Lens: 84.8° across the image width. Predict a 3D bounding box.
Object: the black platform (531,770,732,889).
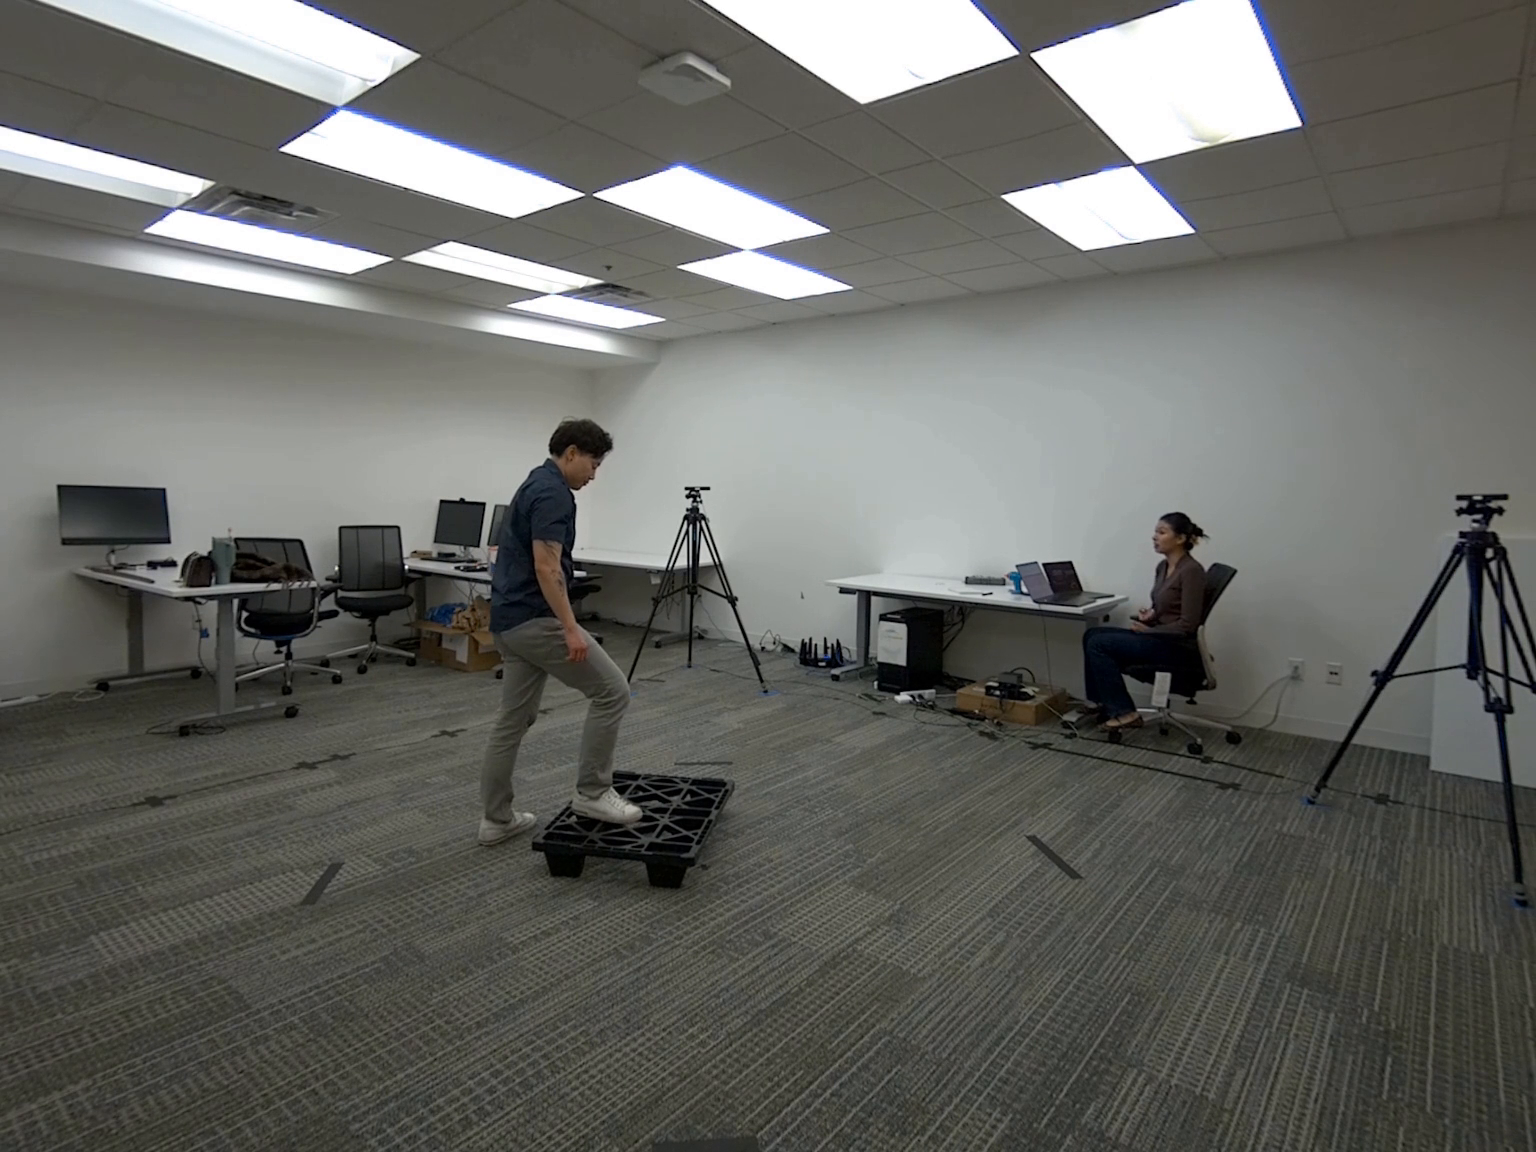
[{"bbox_3d":[-0.504,0.972,3.333,0.612,0.143,0.800,1,5,9],"label":"black platform"}]
